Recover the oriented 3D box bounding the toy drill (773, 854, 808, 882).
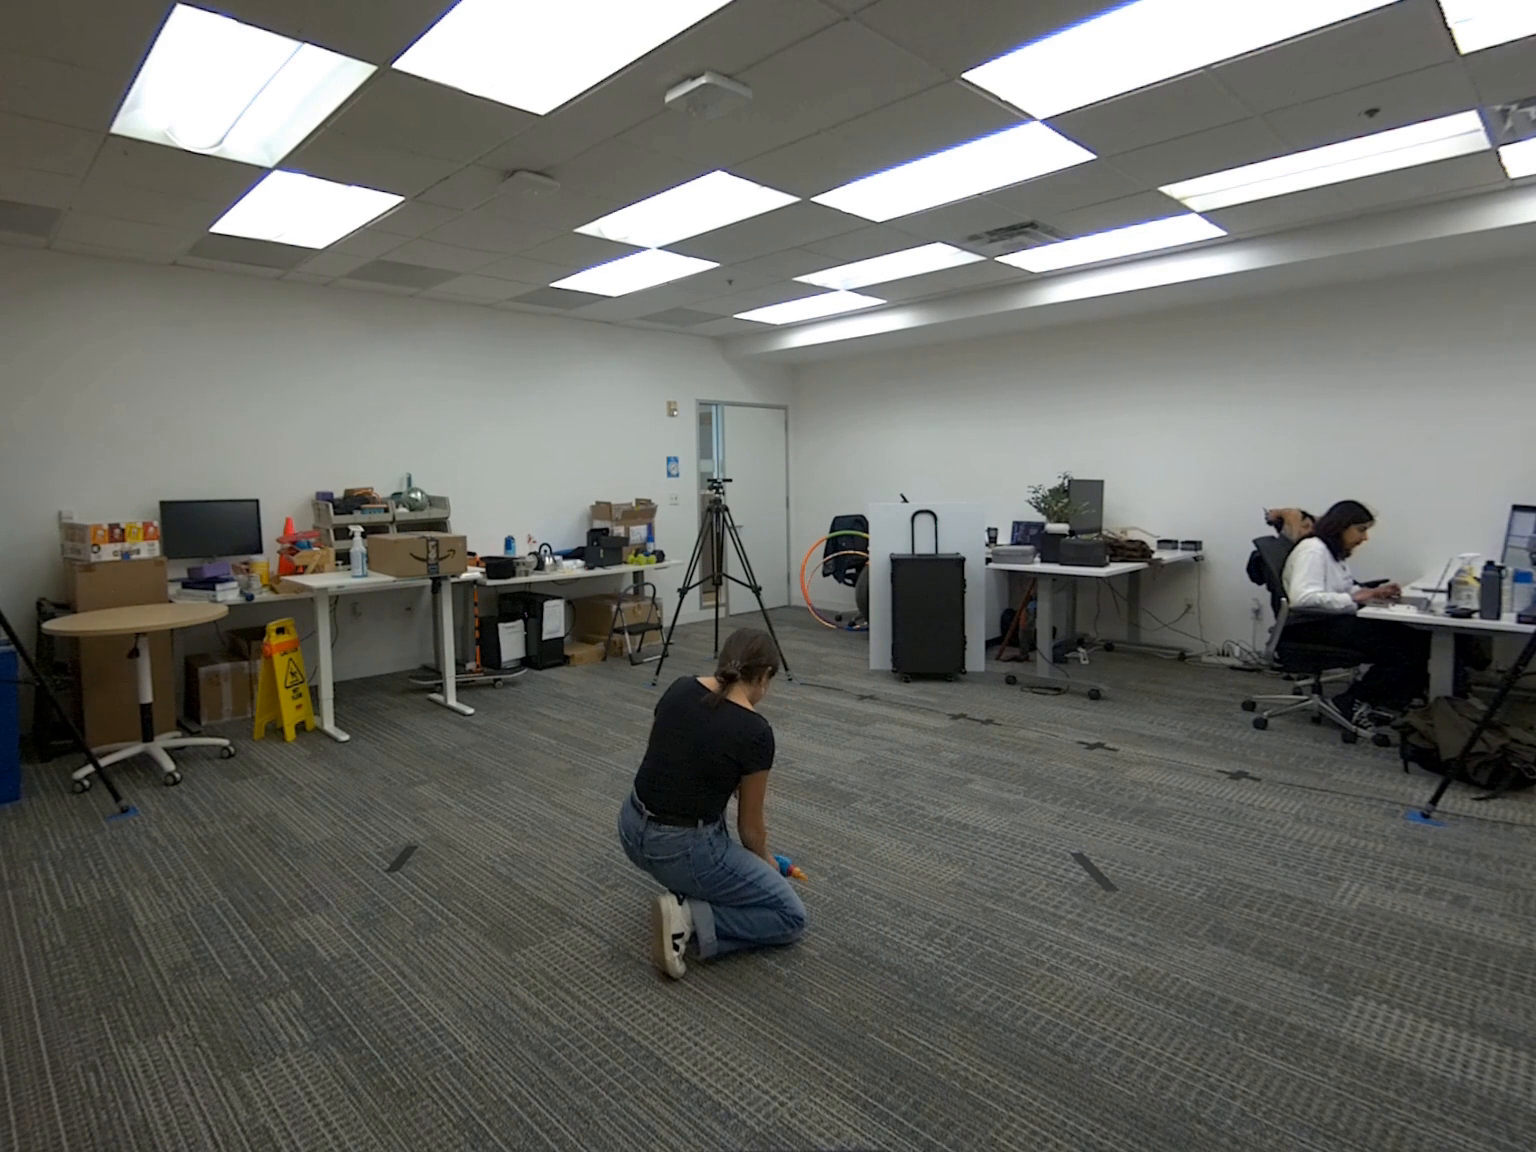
[{"bbox_3d":[0.031,0.973,2.772,0.141,0.061,0.176,10,15,-36],"label":"toy drill"}]
